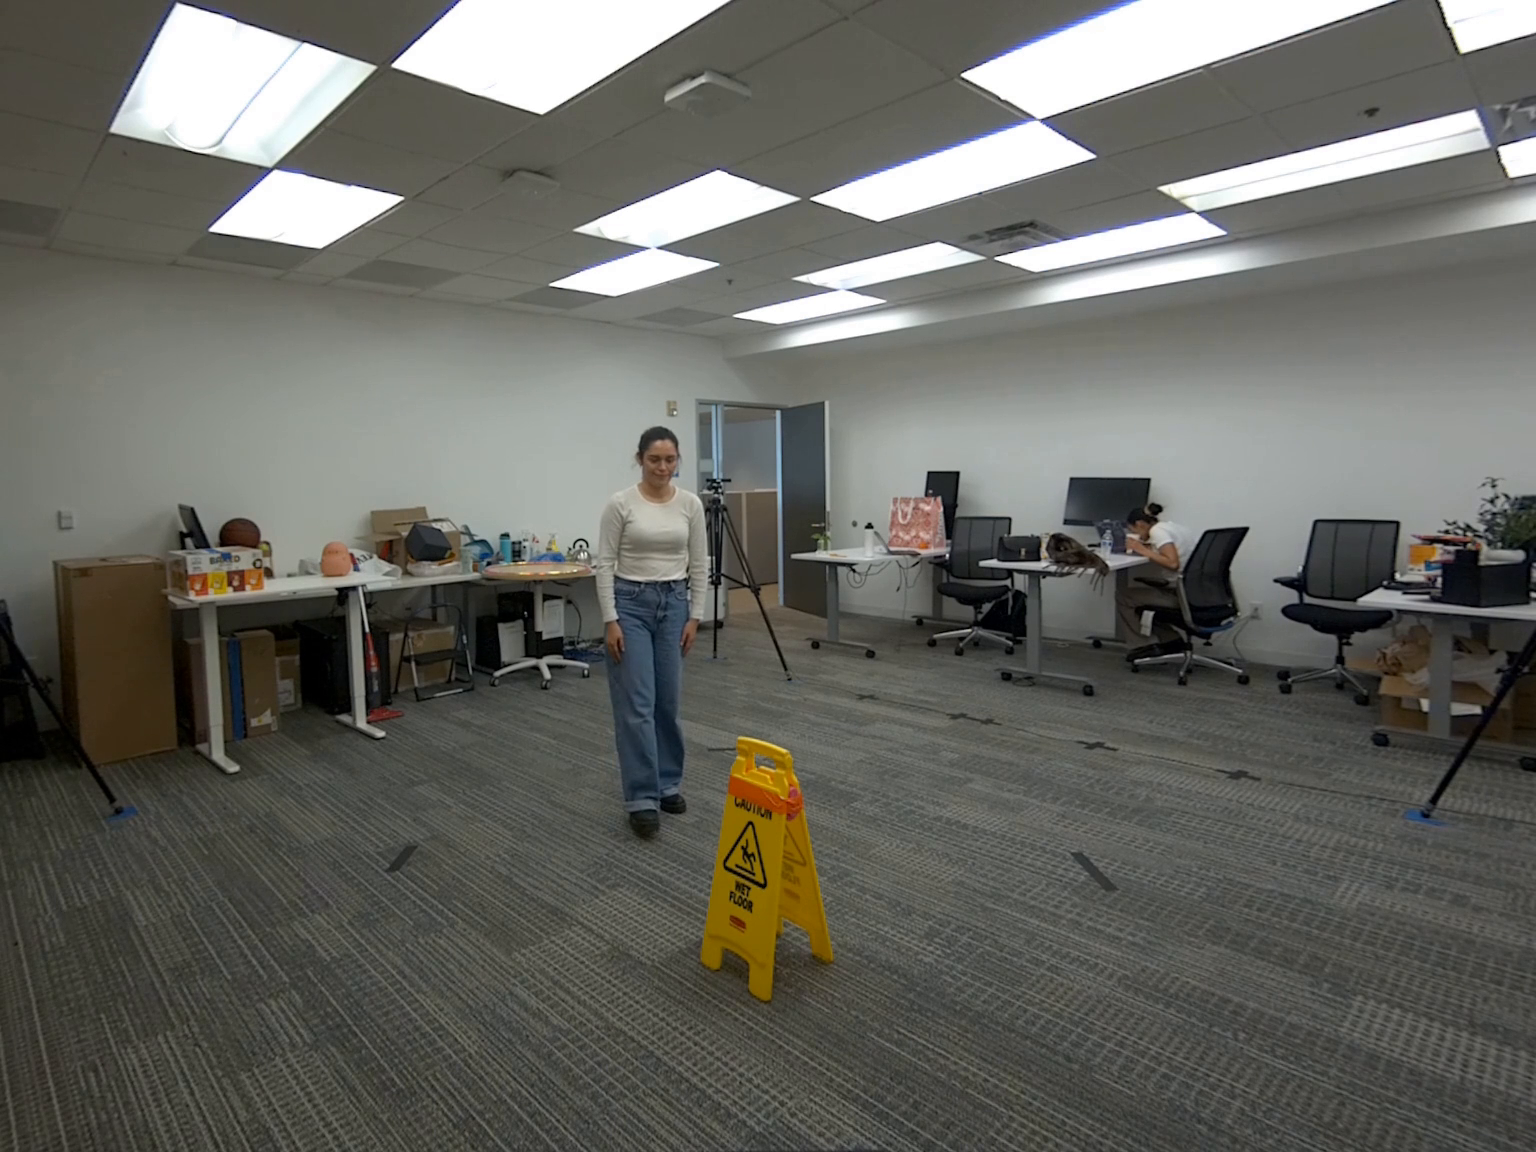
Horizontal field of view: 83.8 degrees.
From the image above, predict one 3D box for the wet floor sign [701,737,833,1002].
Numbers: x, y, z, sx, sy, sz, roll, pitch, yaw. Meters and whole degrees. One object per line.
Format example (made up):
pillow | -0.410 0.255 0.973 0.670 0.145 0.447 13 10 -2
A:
wet floor sign | 0.000 0.796 2.454 0.282 0.643 0.291 -4 6 -44
